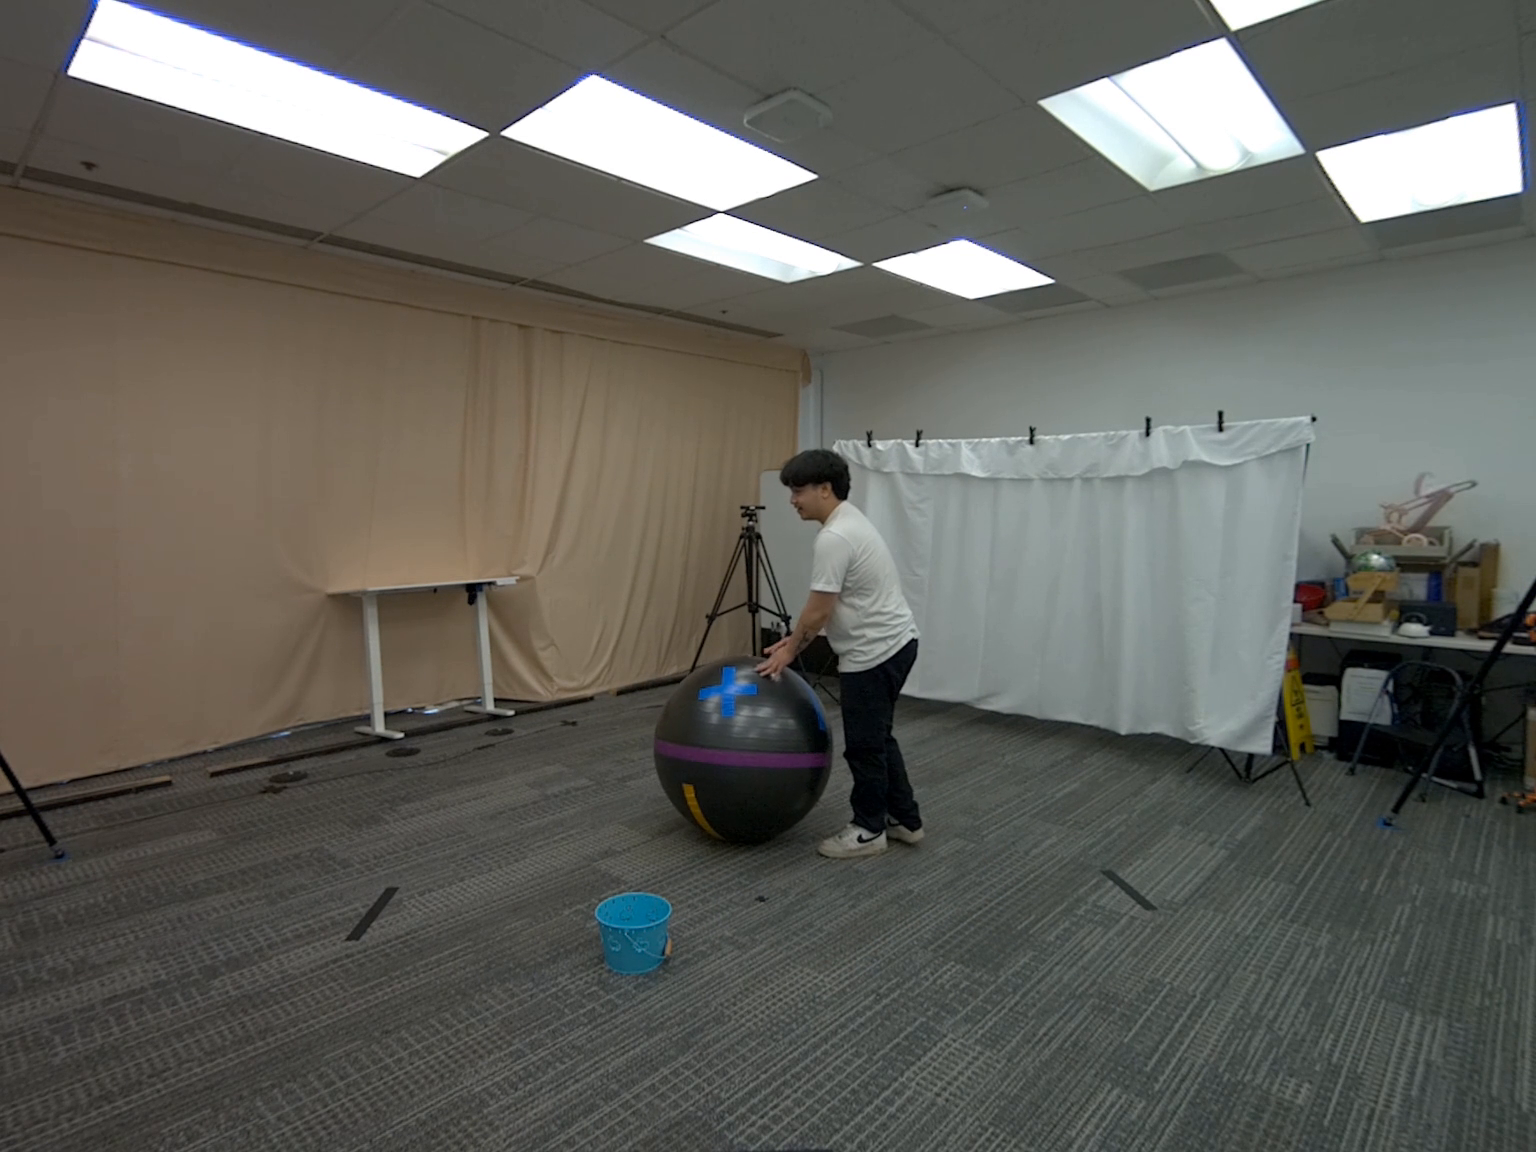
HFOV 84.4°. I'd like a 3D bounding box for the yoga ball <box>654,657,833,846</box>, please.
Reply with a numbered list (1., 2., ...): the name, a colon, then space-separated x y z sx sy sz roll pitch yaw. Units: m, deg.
1. yoga ball: -0.105 0.728 3.581 0.757 0.756 0.760 0 4 -2
